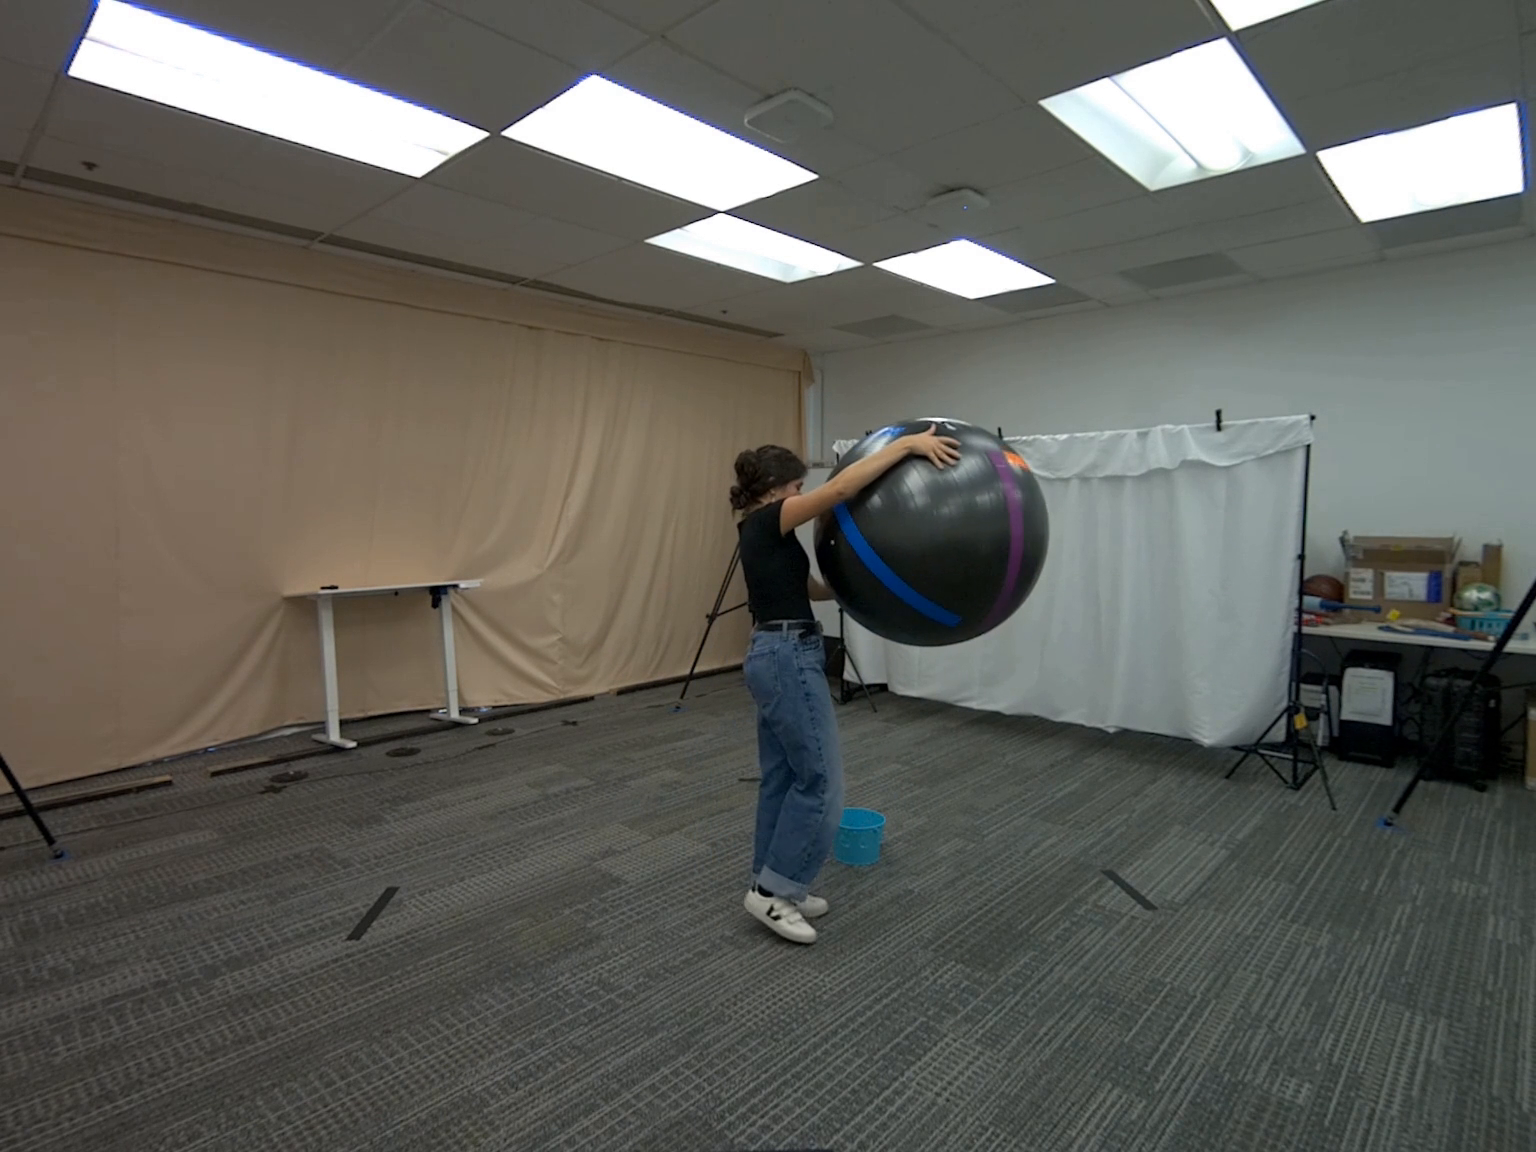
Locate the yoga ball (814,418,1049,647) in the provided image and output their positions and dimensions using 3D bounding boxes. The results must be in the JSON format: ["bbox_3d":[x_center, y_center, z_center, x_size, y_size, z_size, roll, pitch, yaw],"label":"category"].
[{"bbox_3d":[0.541,-0.137,2.804,0.757,0.756,0.760,0,4,-2],"label":"yoga ball"}]
